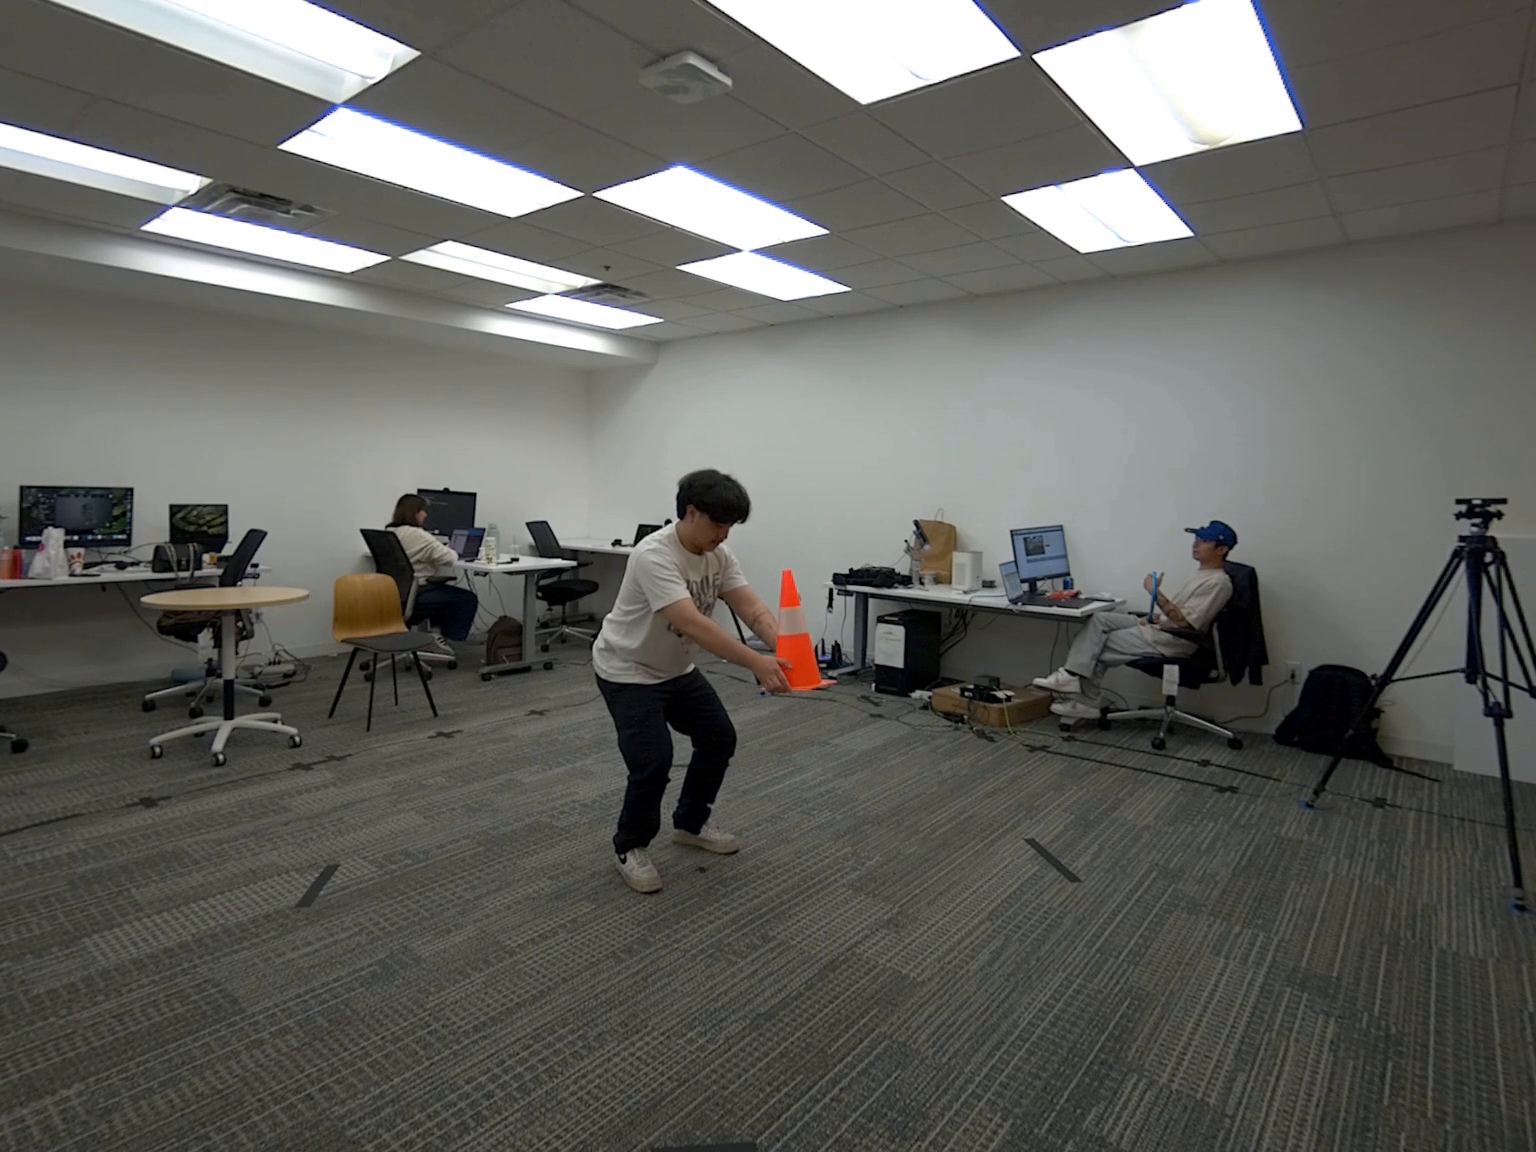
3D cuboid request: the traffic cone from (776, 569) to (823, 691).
[{"bbox_3d":[0.082,0.170,2.814,0.208,0.385,0.200,-5,-3,24],"label":"traffic cone"}]
